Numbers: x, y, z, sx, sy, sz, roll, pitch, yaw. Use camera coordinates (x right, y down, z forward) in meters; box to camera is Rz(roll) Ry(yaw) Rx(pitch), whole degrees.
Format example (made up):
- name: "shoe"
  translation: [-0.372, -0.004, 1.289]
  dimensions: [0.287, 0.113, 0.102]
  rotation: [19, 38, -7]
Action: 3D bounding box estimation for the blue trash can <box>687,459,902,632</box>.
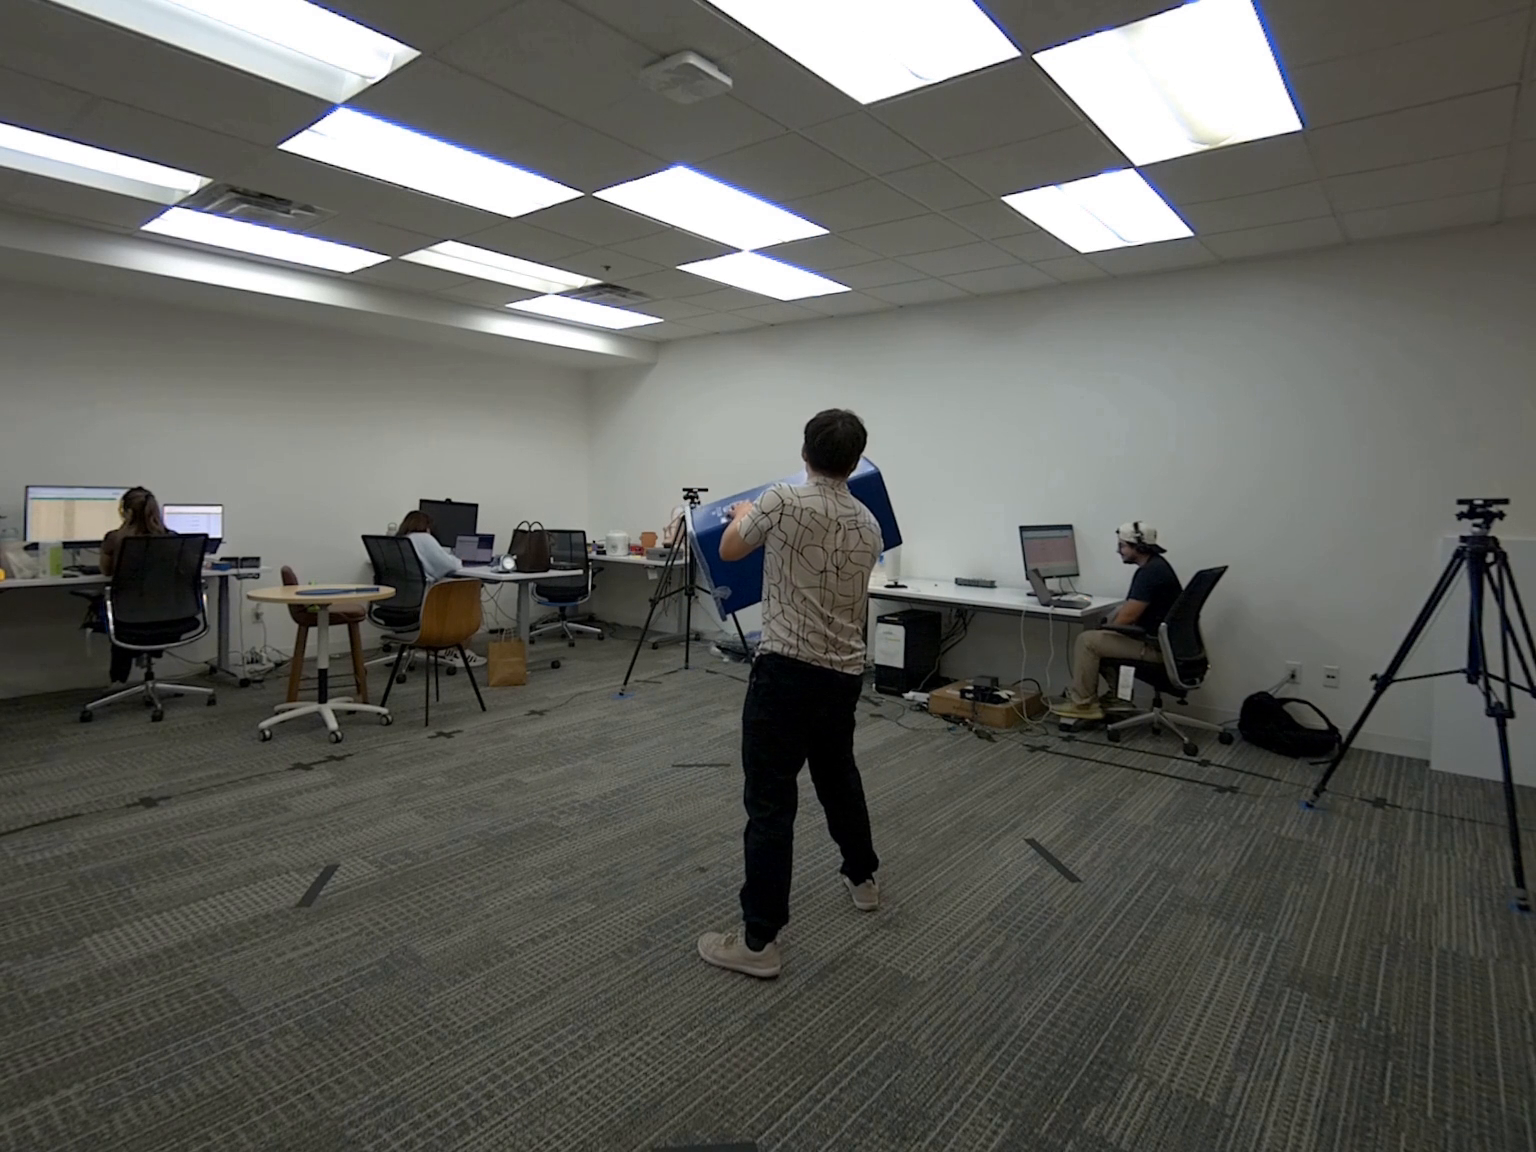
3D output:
- name: "blue trash can"
  translation: [0.075, -0.181, 3.181]
  dimensions: [0.714, 0.366, 0.386]
  rotation: [-21, 19, 2]
